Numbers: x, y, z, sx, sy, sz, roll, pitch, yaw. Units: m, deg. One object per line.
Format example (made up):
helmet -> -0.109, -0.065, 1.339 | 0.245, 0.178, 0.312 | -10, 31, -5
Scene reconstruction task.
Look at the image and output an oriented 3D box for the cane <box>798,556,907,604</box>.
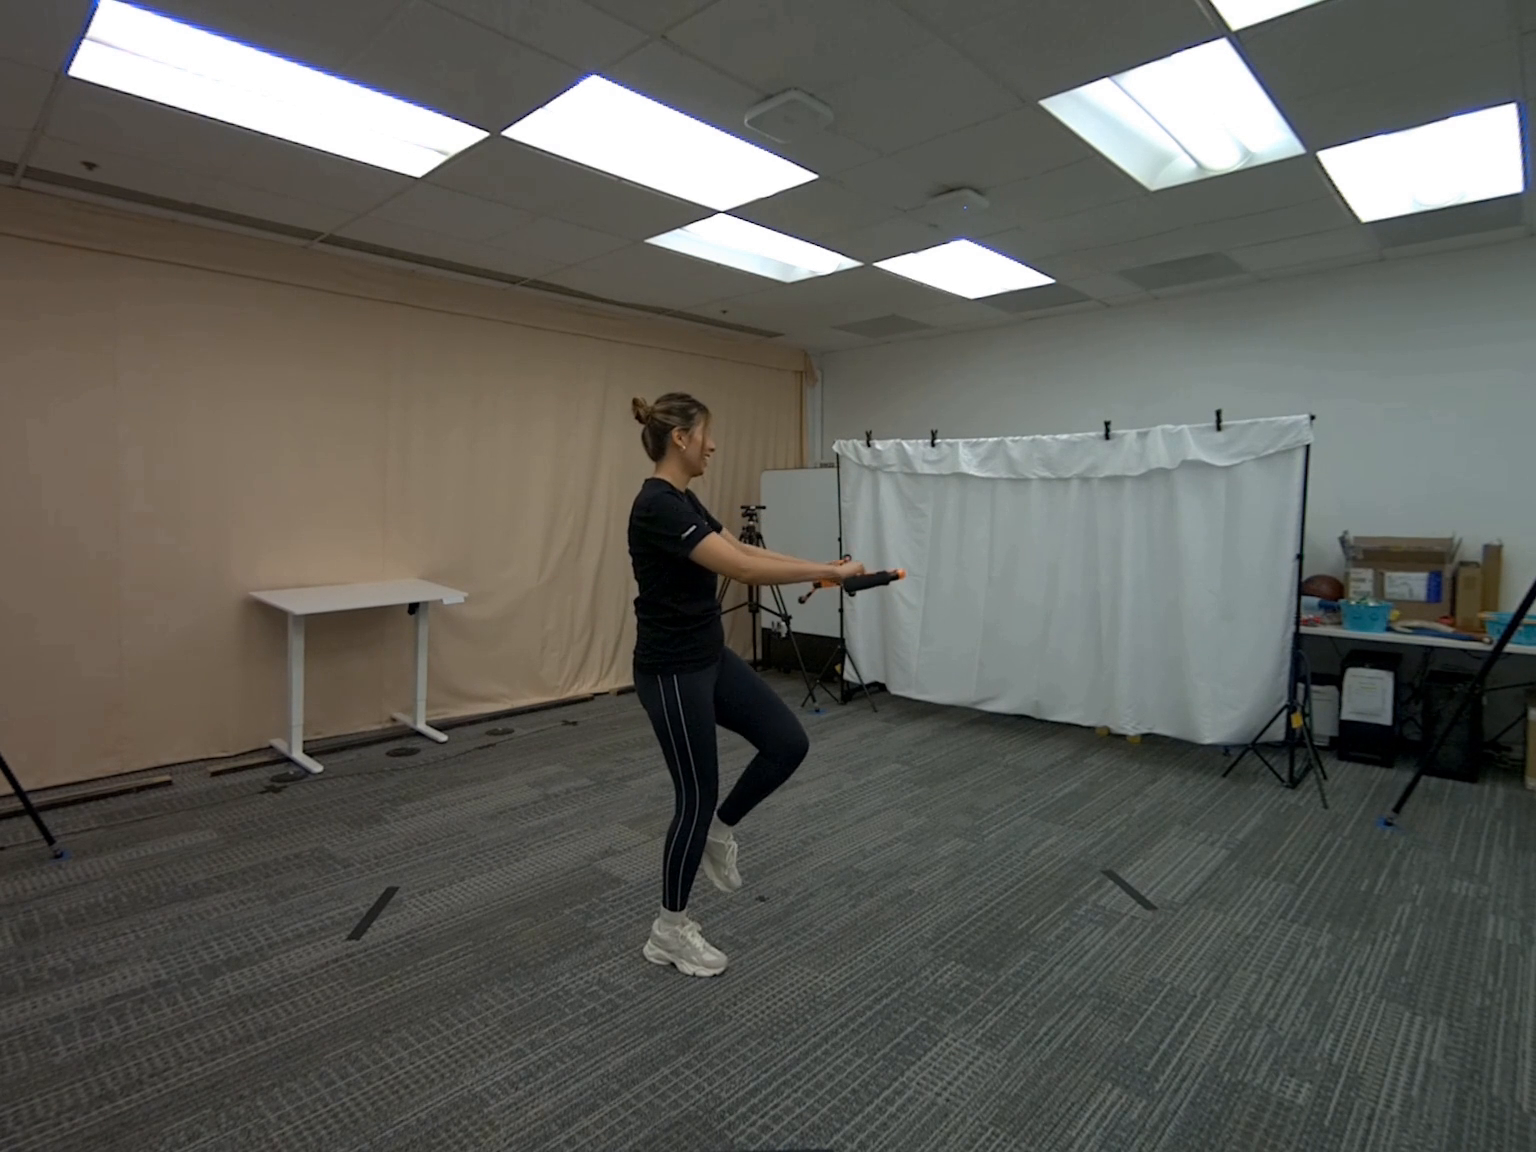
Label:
cane -> 0.252, 0.051, 2.443 | 0.206, 0.152, 0.908 | -10, -3, -5
